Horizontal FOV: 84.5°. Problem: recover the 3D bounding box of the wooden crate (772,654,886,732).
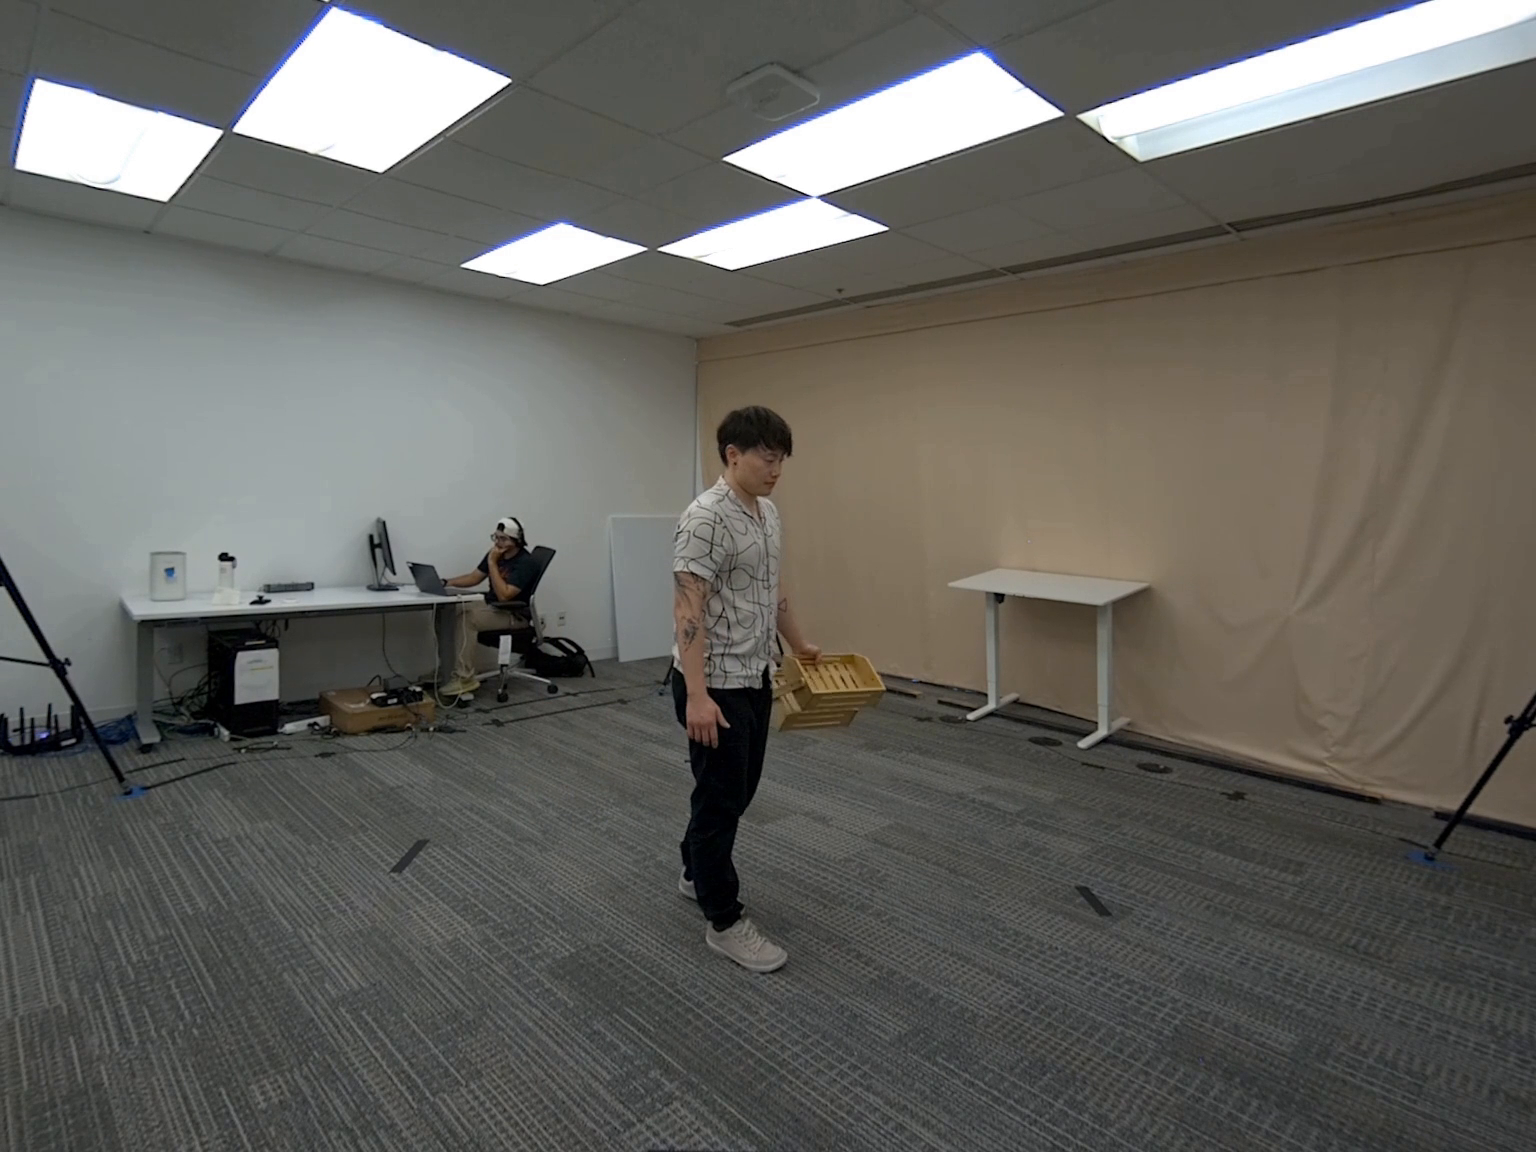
[{"bbox_3d":[0.160,0.373,2.955,0.318,0.271,0.311,2,41,-30],"label":"wooden crate"}]
